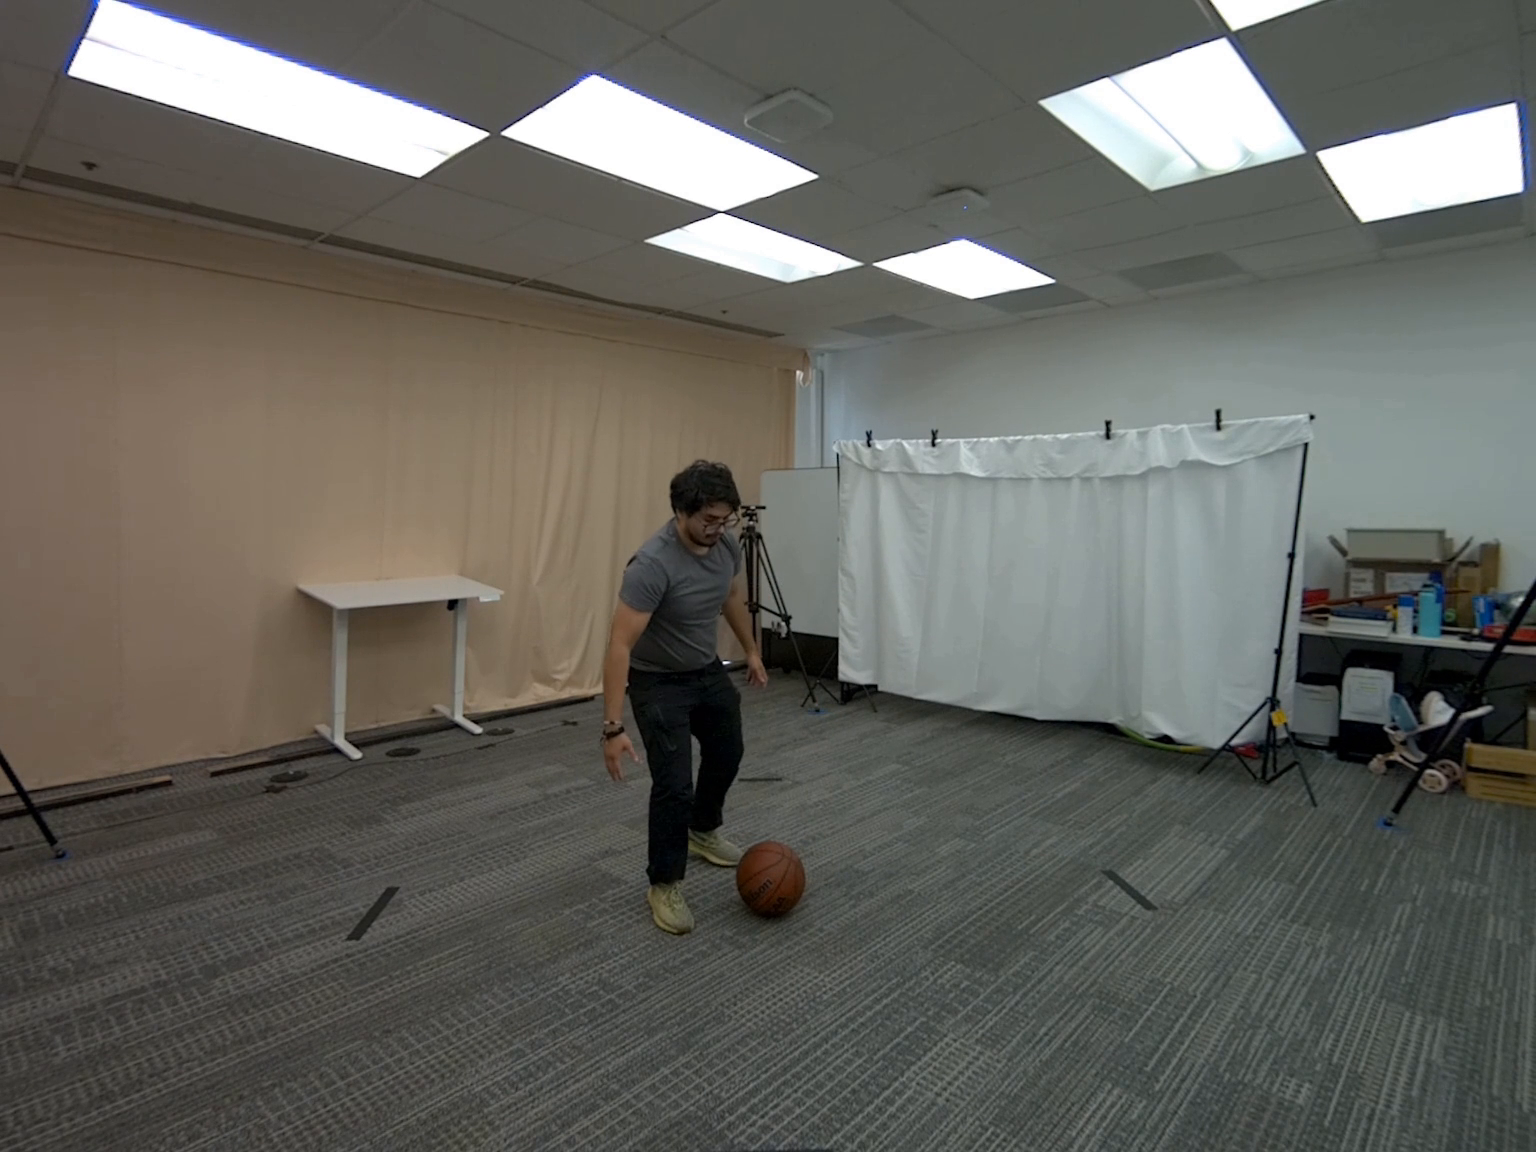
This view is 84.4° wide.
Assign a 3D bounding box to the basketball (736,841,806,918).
[{"bbox_3d":[0.009,1.034,2.875,0.236,0.235,0.237,0,4,-2],"label":"basketball"}]
